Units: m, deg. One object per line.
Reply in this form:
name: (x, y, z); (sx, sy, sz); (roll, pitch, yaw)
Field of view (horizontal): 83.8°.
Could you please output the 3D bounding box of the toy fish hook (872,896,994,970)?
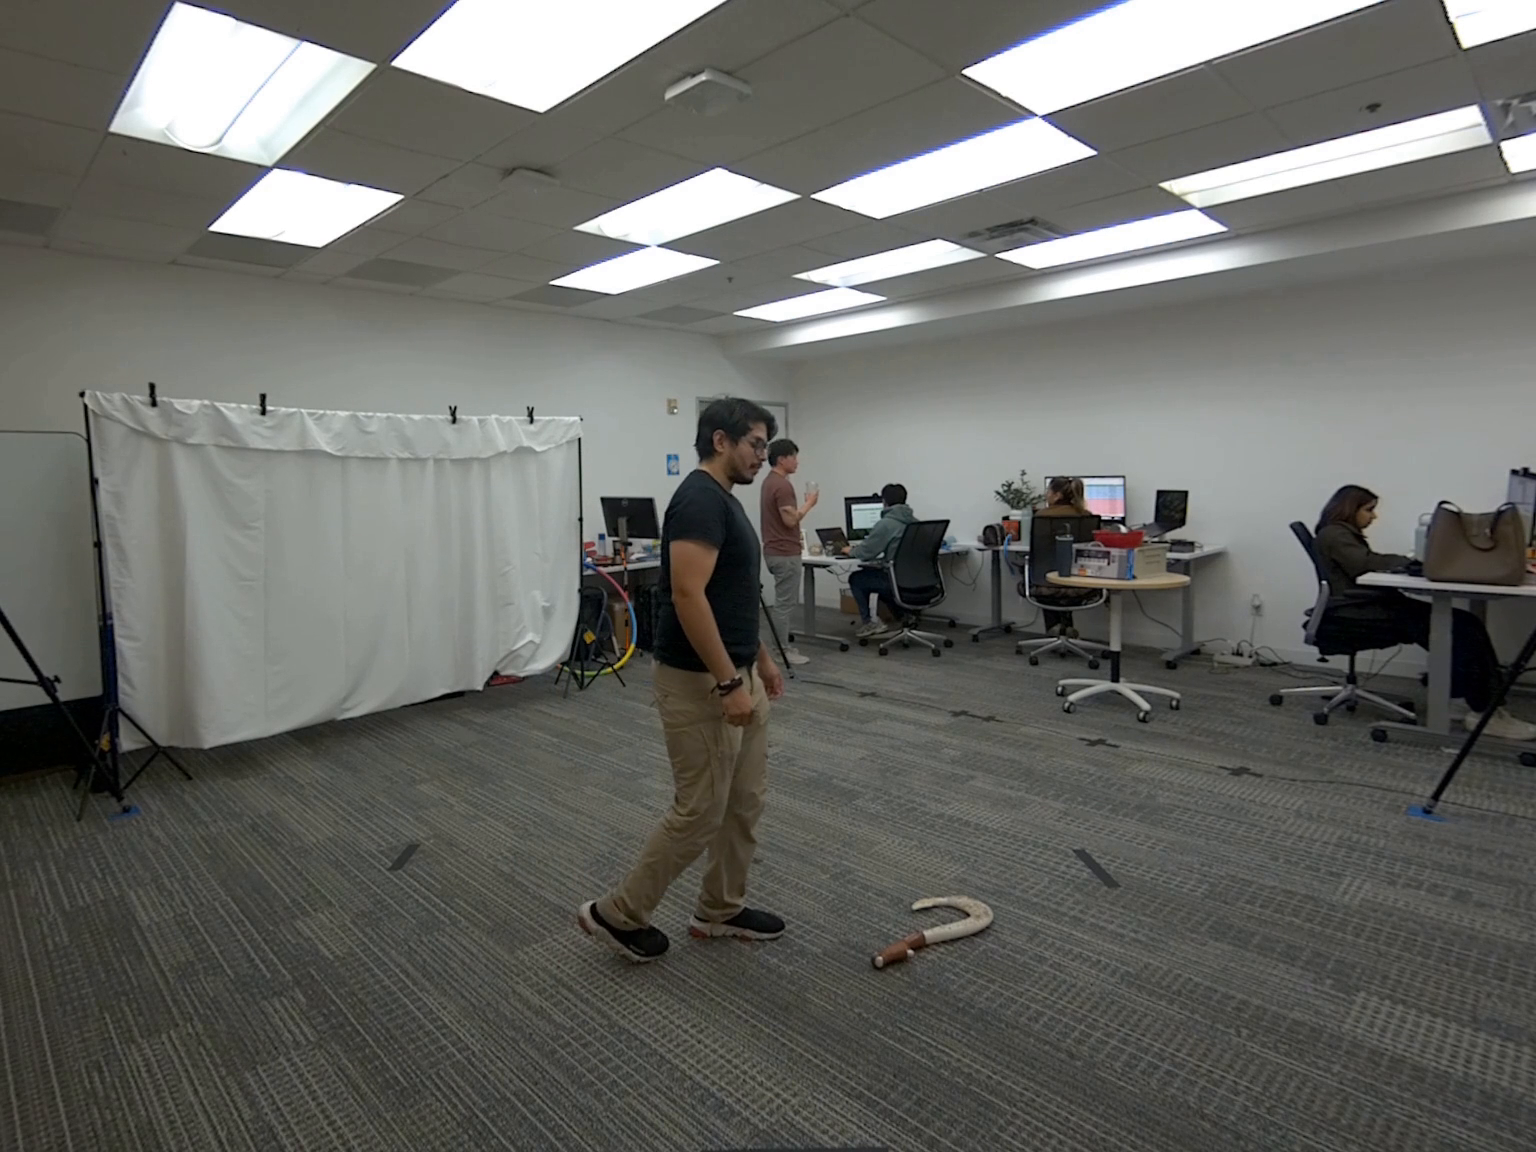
toy fish hook: (0.478, 1.073, 2.594); (0.494, 0.048, 0.230); (-5, 1, -35)
